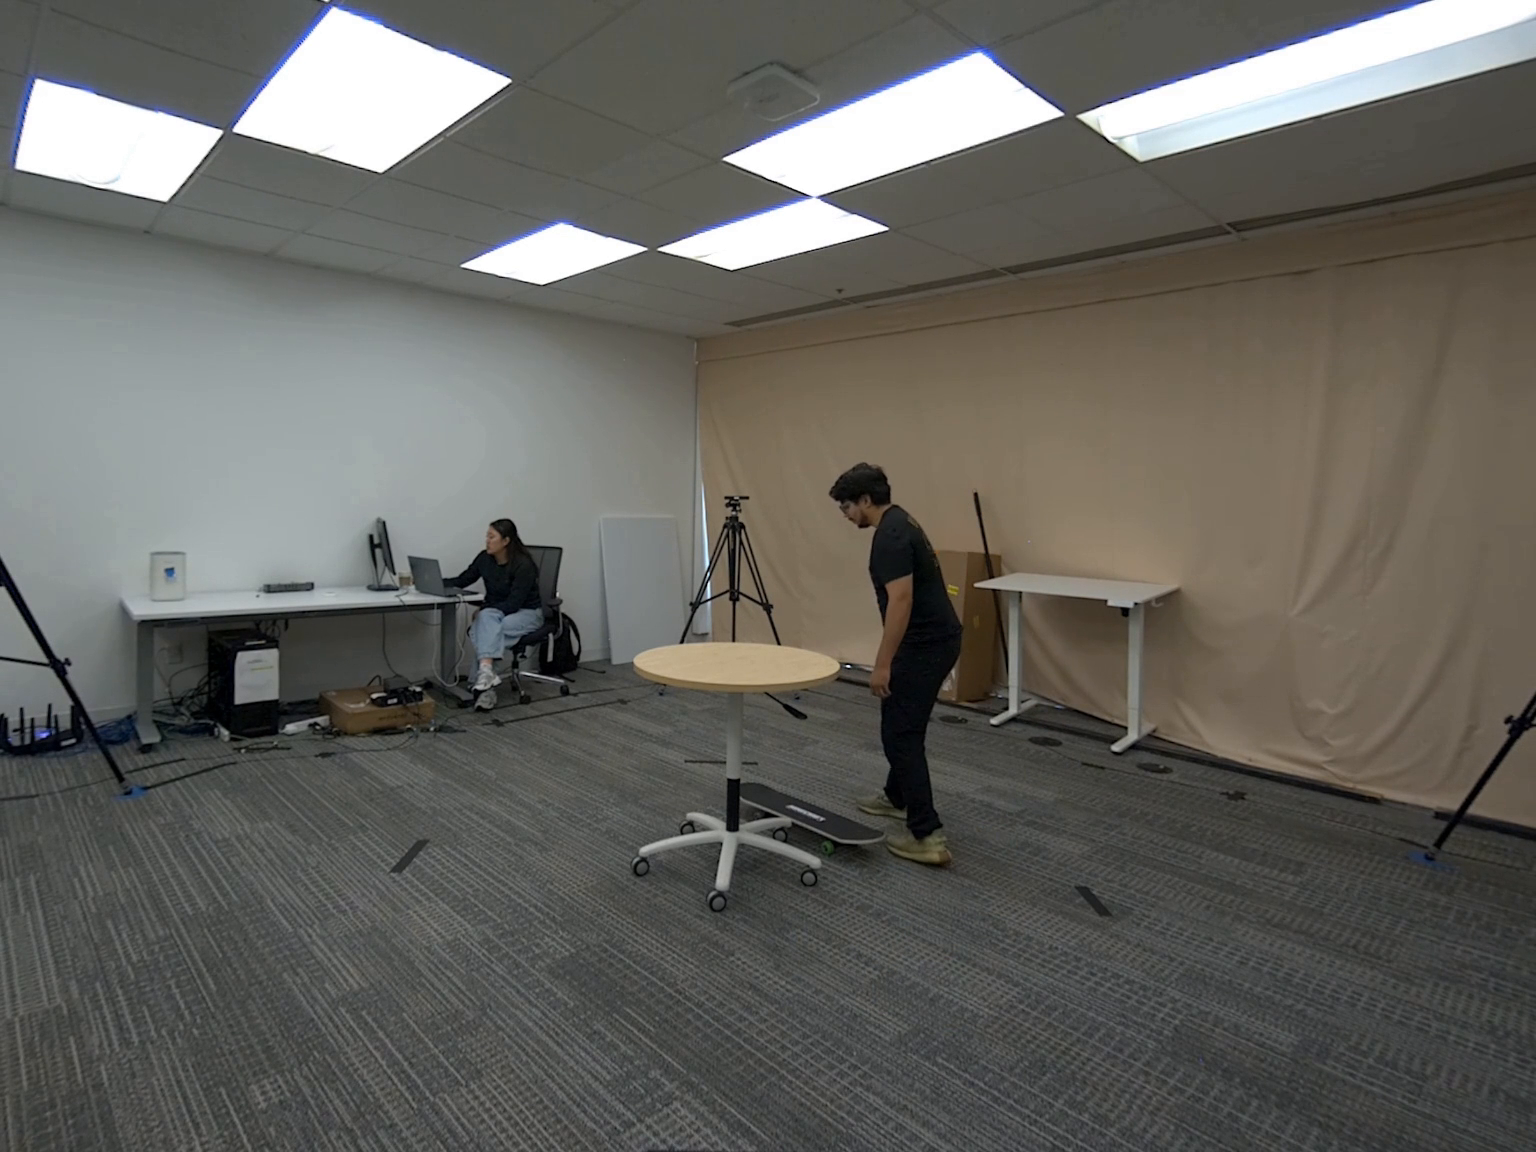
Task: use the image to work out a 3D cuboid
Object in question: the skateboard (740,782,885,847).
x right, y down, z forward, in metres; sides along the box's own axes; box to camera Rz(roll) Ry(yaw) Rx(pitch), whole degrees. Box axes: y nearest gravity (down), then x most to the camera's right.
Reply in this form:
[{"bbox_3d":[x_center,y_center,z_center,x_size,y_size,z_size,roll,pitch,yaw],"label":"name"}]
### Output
[{"bbox_3d":[0.144,1.023,3.514,0.189,0.110,0.806,-2,6,-42],"label":"skateboard"}]
